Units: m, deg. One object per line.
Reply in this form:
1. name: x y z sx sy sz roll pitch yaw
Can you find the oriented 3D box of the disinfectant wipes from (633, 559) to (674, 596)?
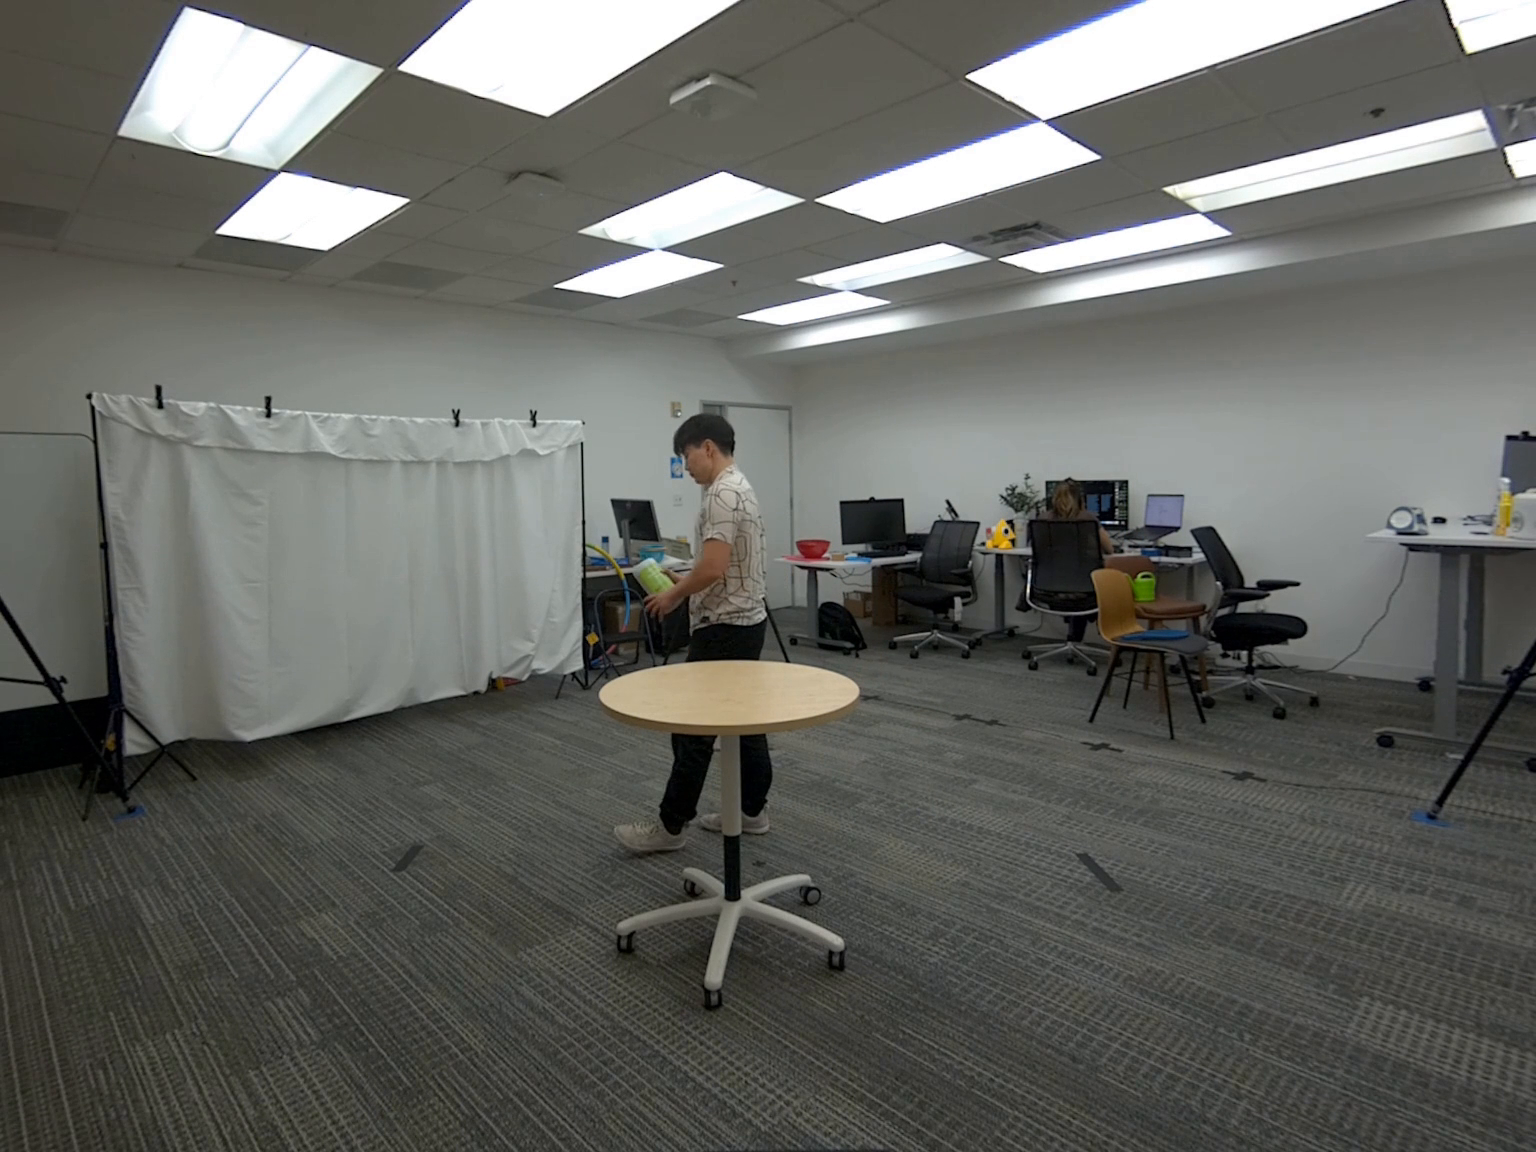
1. disinfectant wipes: -0.454 0.036 3.493 0.117 0.222 0.116 -37 -14 -12
